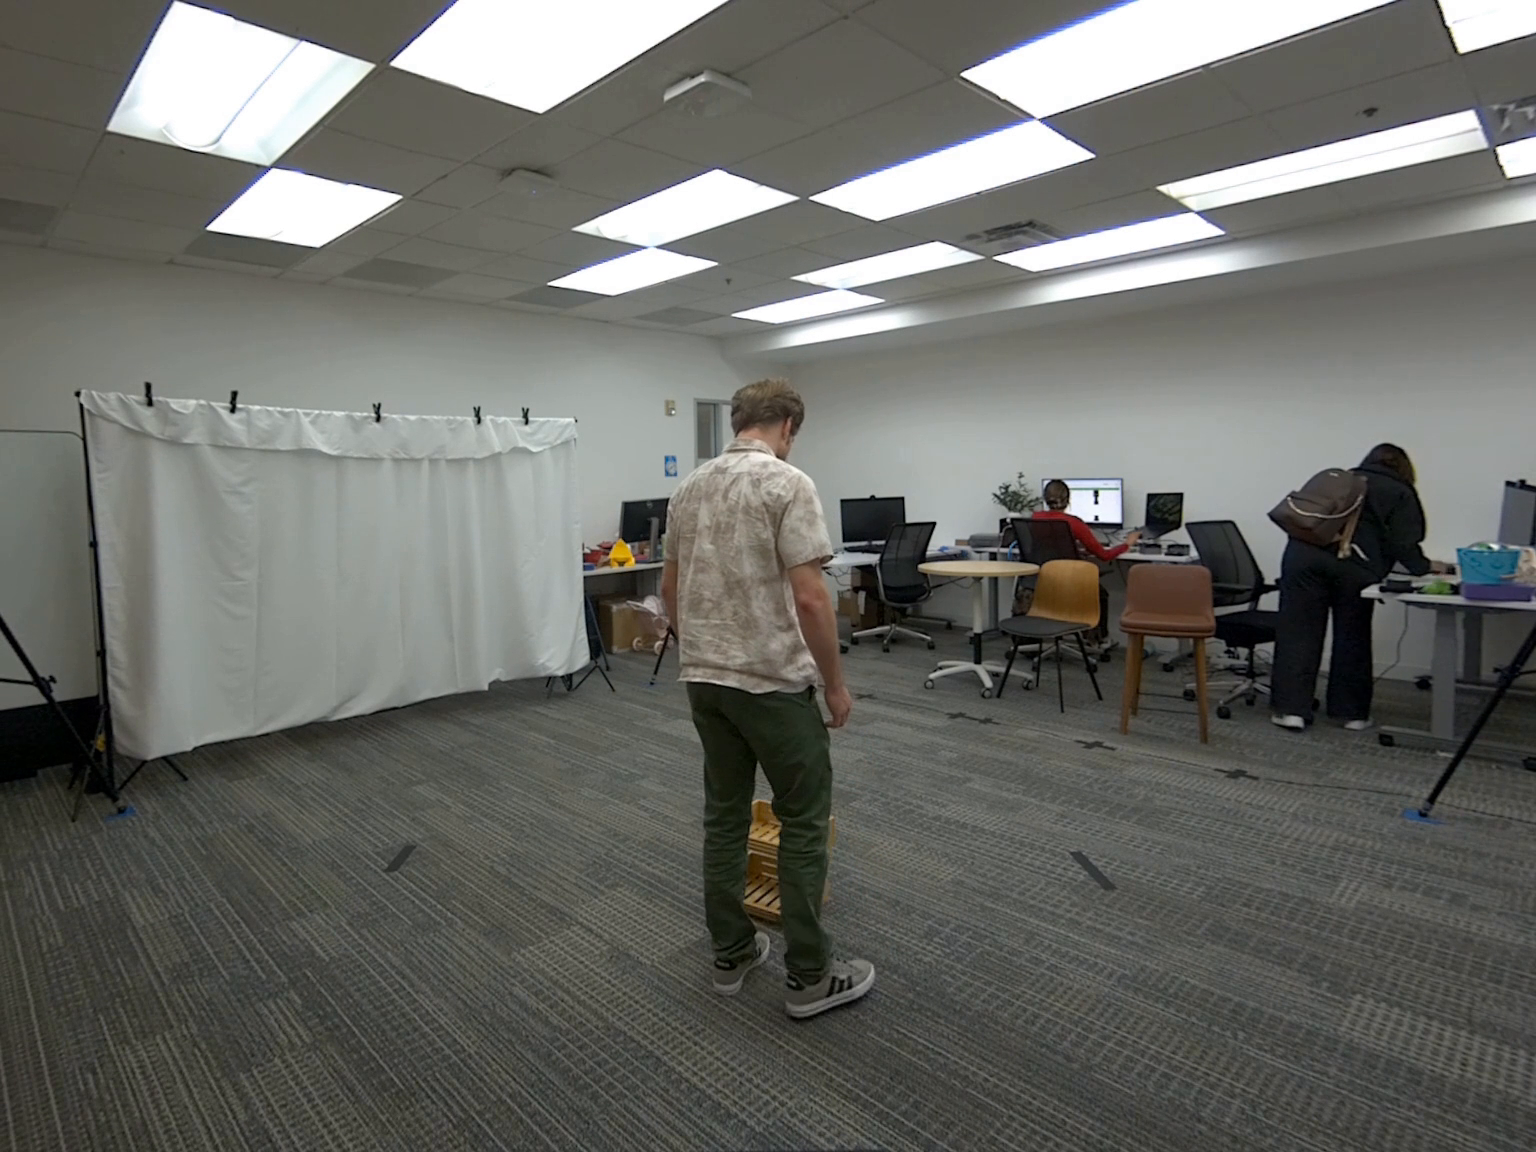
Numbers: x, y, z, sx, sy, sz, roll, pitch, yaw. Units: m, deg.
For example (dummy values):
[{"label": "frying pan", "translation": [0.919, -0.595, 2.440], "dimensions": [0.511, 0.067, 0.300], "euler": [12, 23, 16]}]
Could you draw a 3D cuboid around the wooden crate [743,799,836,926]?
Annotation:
[{"label": "wooden crate", "translation": [0.029, 0.947, 2.826], "dimensions": [0.333, 0.273, 0.294], "euler": [2, 3, 34]}]
